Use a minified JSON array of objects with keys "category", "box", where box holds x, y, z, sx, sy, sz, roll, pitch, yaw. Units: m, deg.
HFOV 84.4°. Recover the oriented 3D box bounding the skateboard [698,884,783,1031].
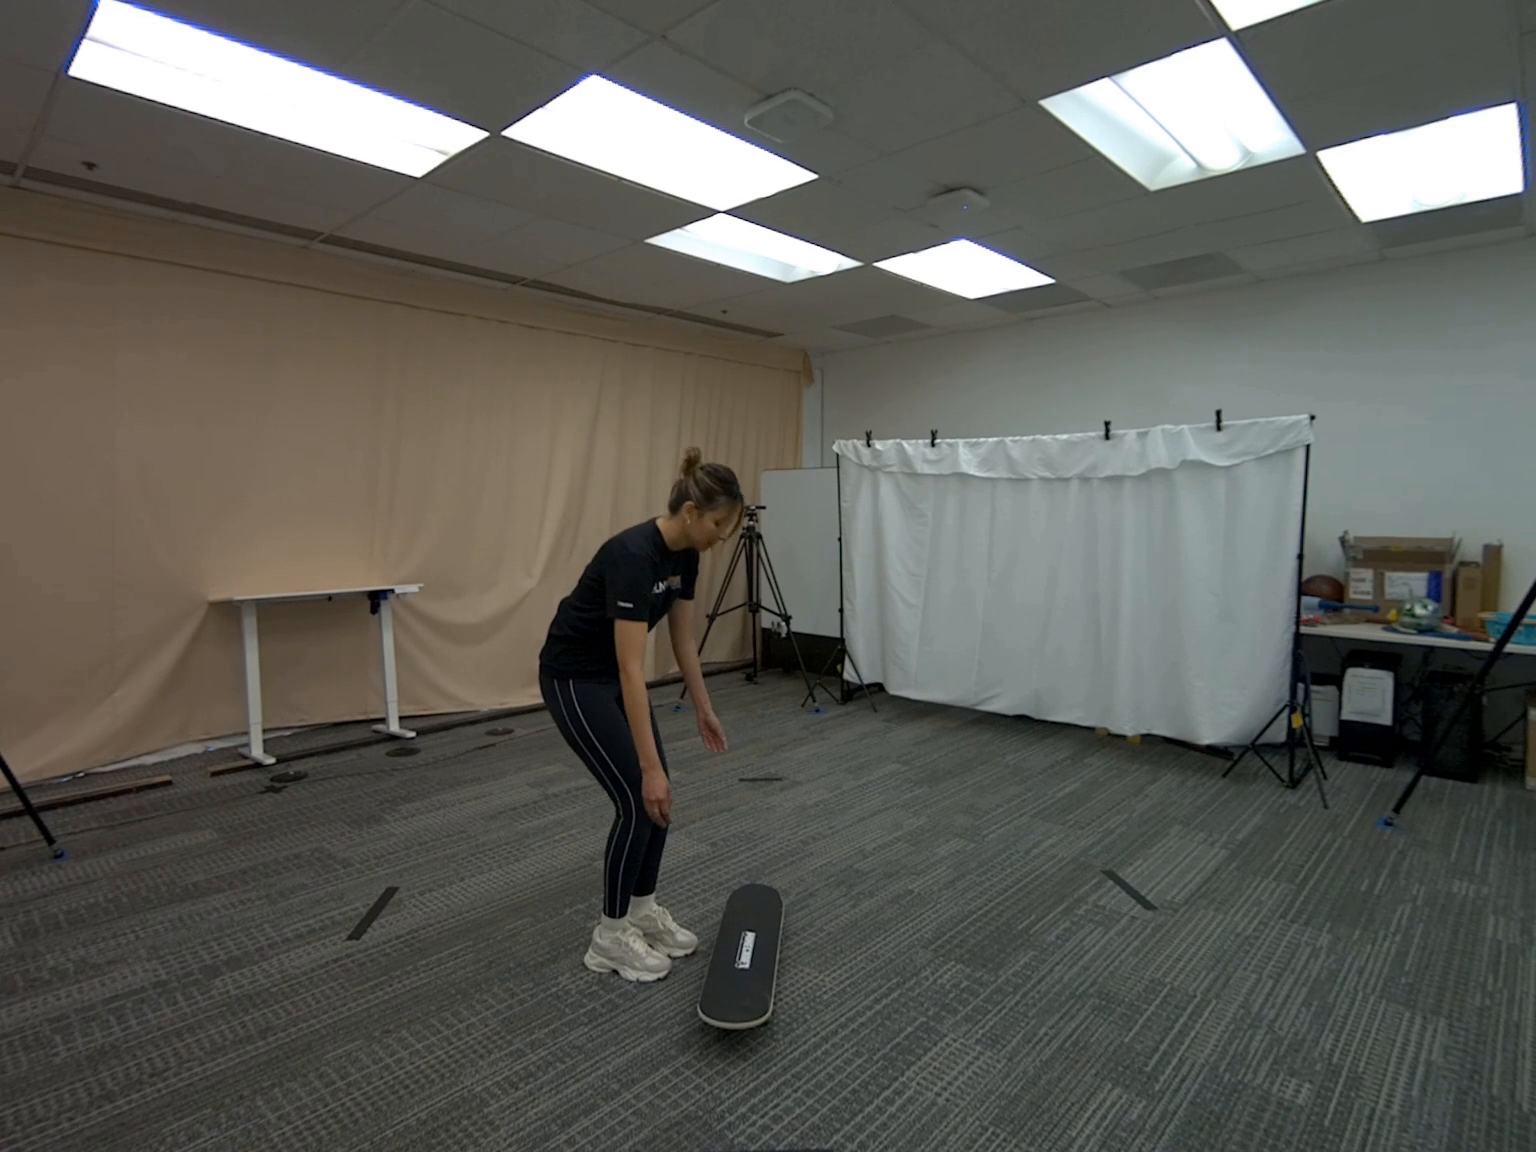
[{"category":"skateboard","box":[-0.059,1.129,2.471,0.195,0.110,0.782,0,5,4]}]
